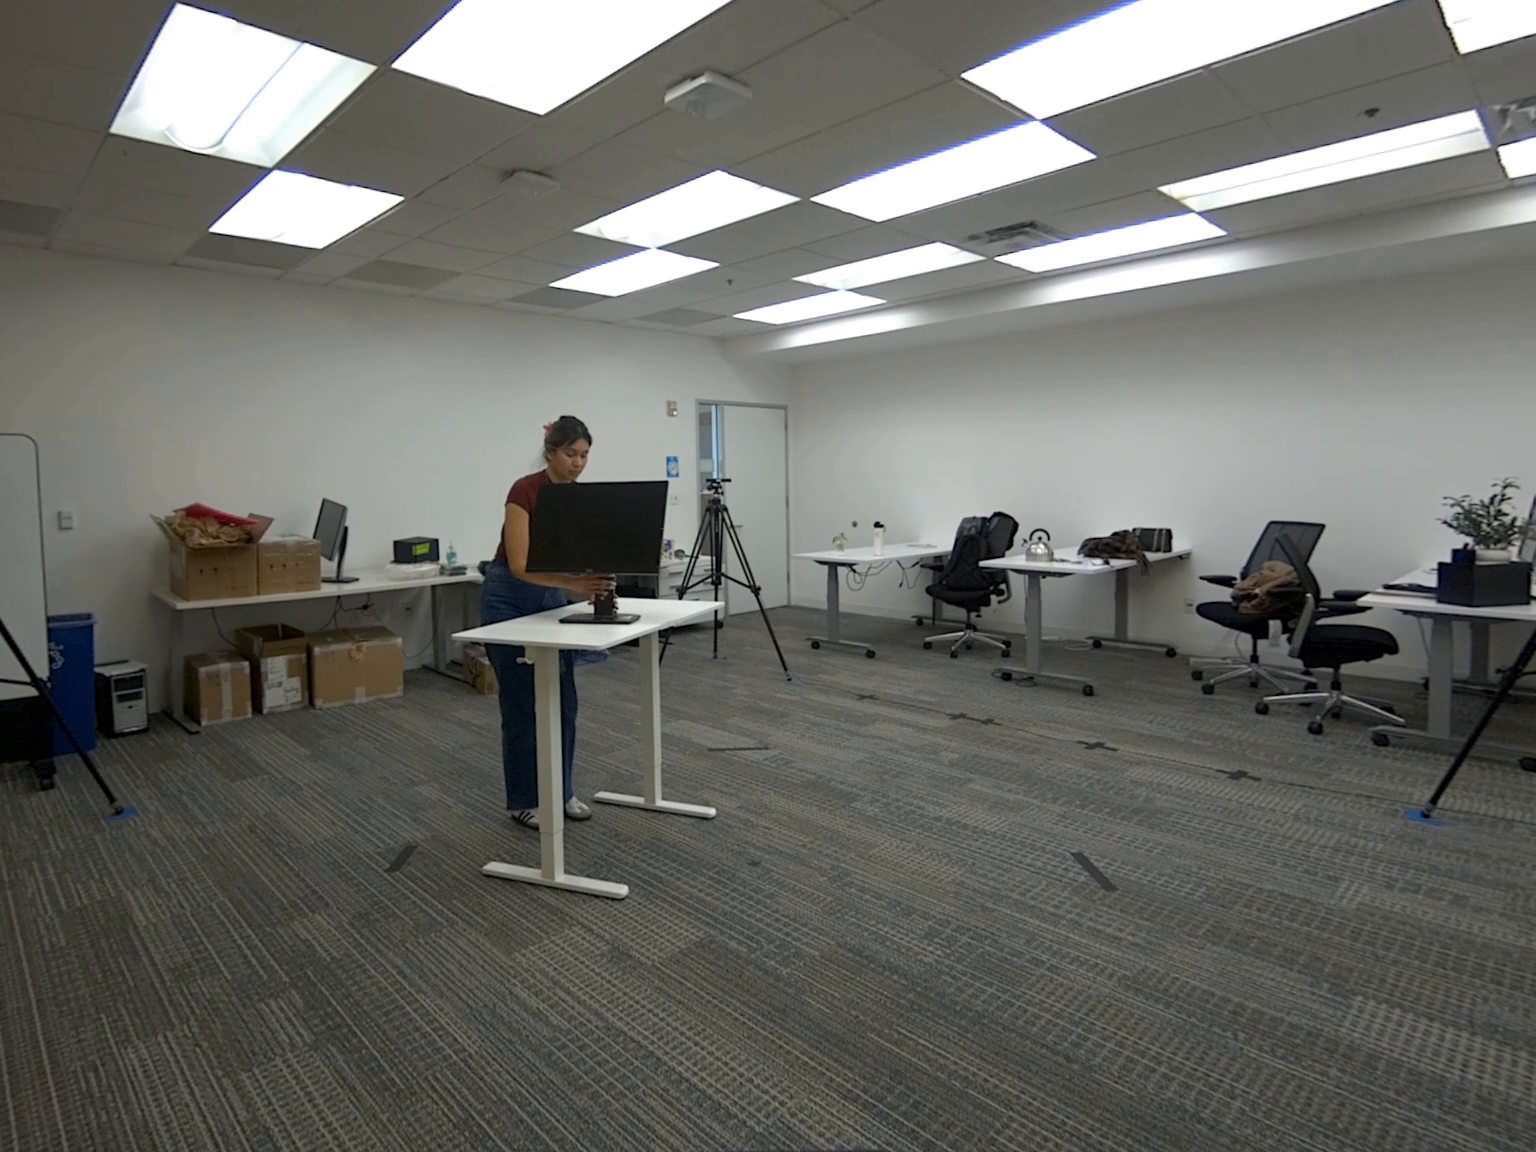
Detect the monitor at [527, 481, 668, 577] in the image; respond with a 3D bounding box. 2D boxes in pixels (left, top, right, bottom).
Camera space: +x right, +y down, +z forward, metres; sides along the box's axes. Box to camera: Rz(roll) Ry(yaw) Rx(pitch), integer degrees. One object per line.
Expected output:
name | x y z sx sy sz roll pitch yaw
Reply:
monitor | -0.621 -0.088 3.182 0.547 0.523 0.184 0 -1 15
